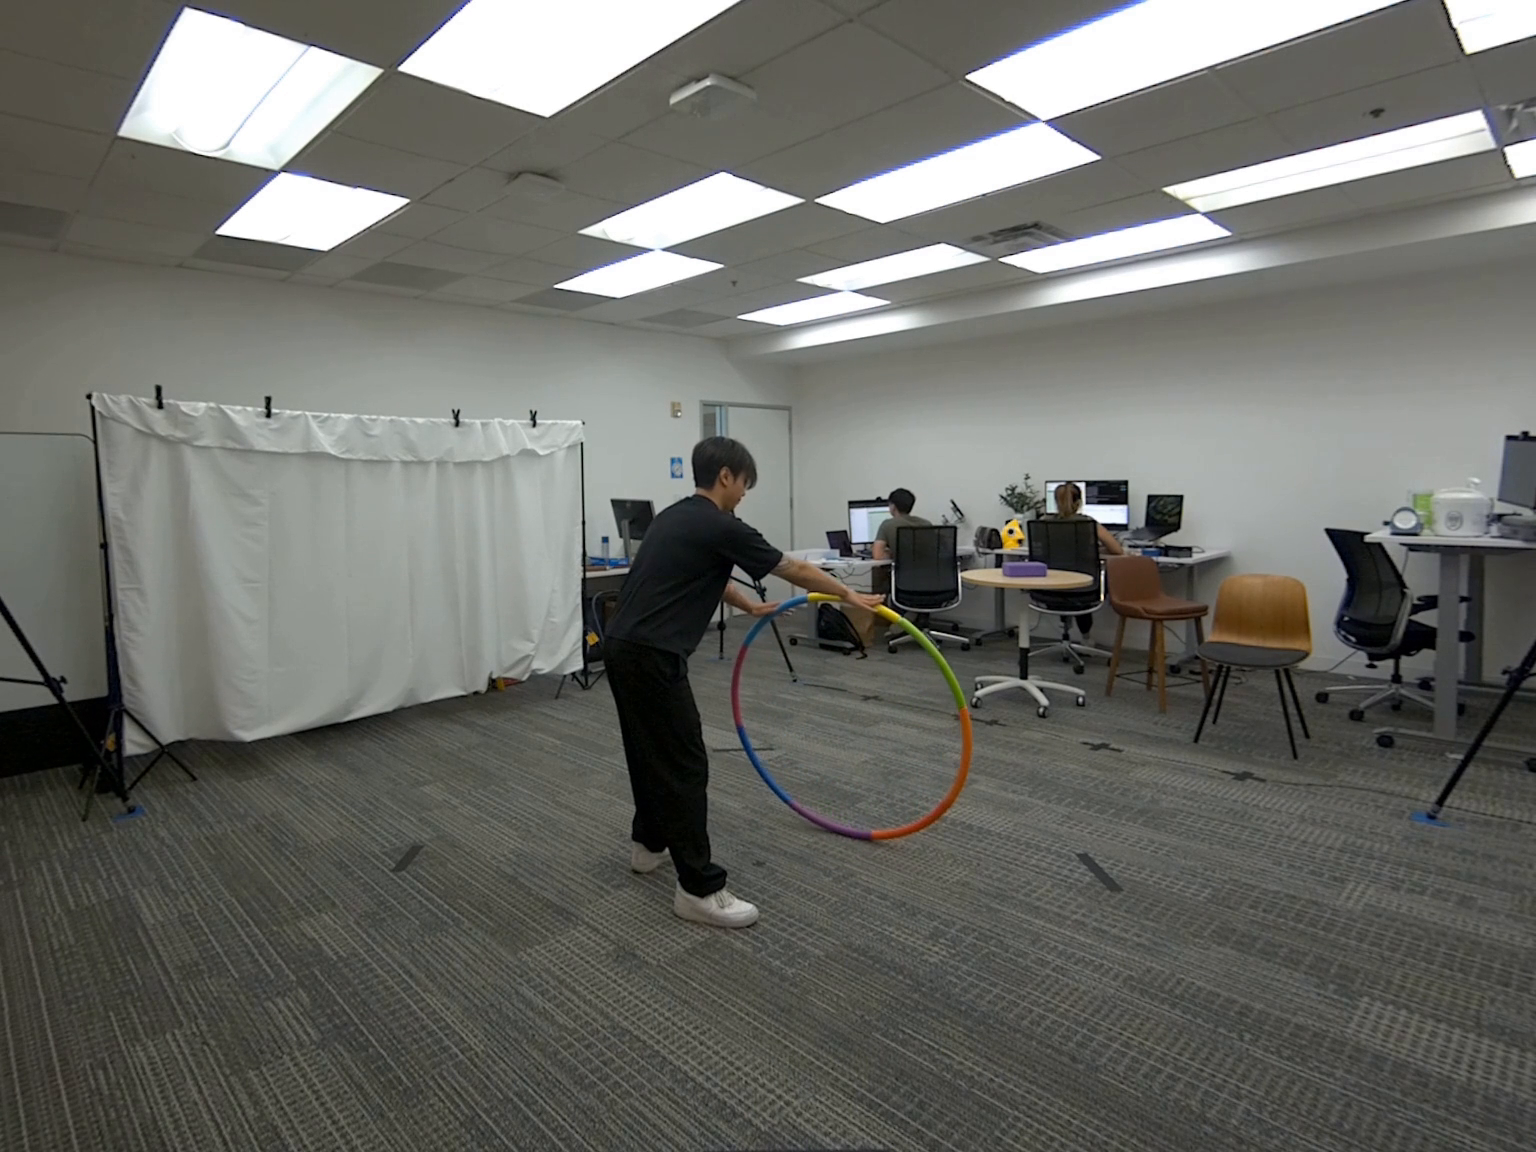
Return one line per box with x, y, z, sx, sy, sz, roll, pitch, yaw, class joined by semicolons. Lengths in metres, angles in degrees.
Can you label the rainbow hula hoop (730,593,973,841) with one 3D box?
0.282;0.543;3.272;1.005;0.969;0.035;2;11;33;rainbow hula hoop
